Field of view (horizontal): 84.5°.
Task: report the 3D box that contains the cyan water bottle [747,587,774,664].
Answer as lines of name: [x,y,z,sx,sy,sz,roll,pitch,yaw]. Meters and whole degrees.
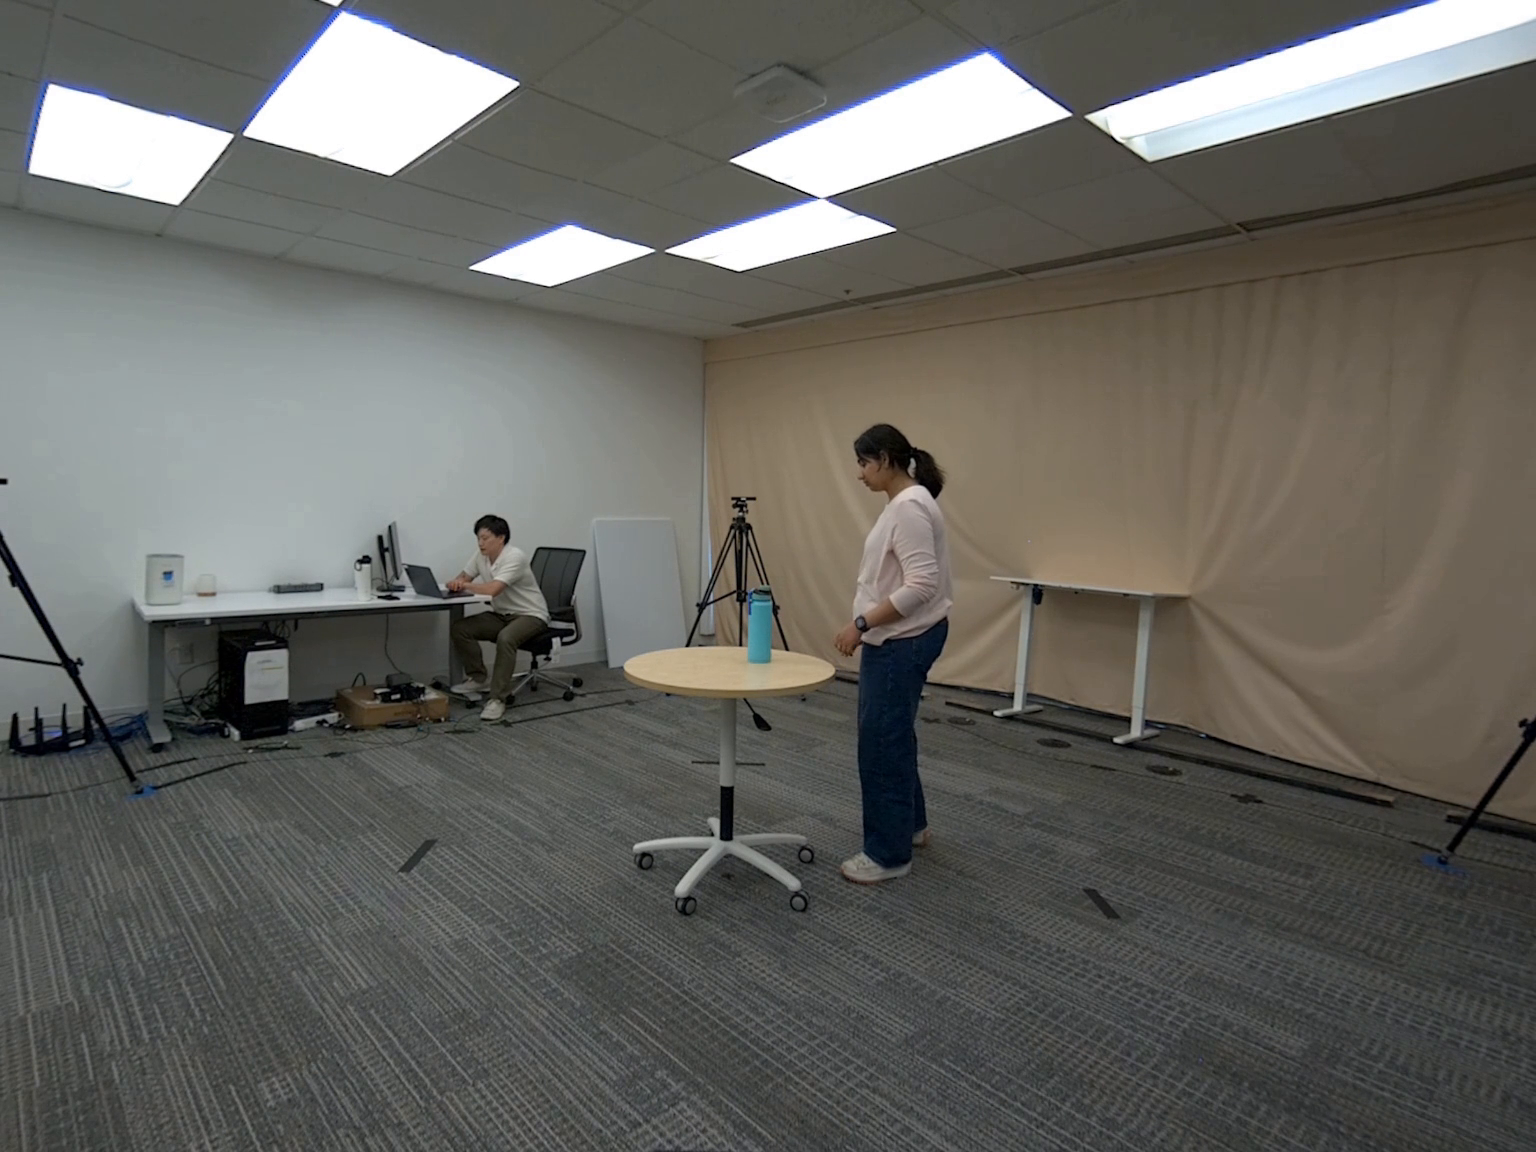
cyan water bottle: [-0.036,0.178,3.152,0.092,0.283,0.092,1,3,-1]
